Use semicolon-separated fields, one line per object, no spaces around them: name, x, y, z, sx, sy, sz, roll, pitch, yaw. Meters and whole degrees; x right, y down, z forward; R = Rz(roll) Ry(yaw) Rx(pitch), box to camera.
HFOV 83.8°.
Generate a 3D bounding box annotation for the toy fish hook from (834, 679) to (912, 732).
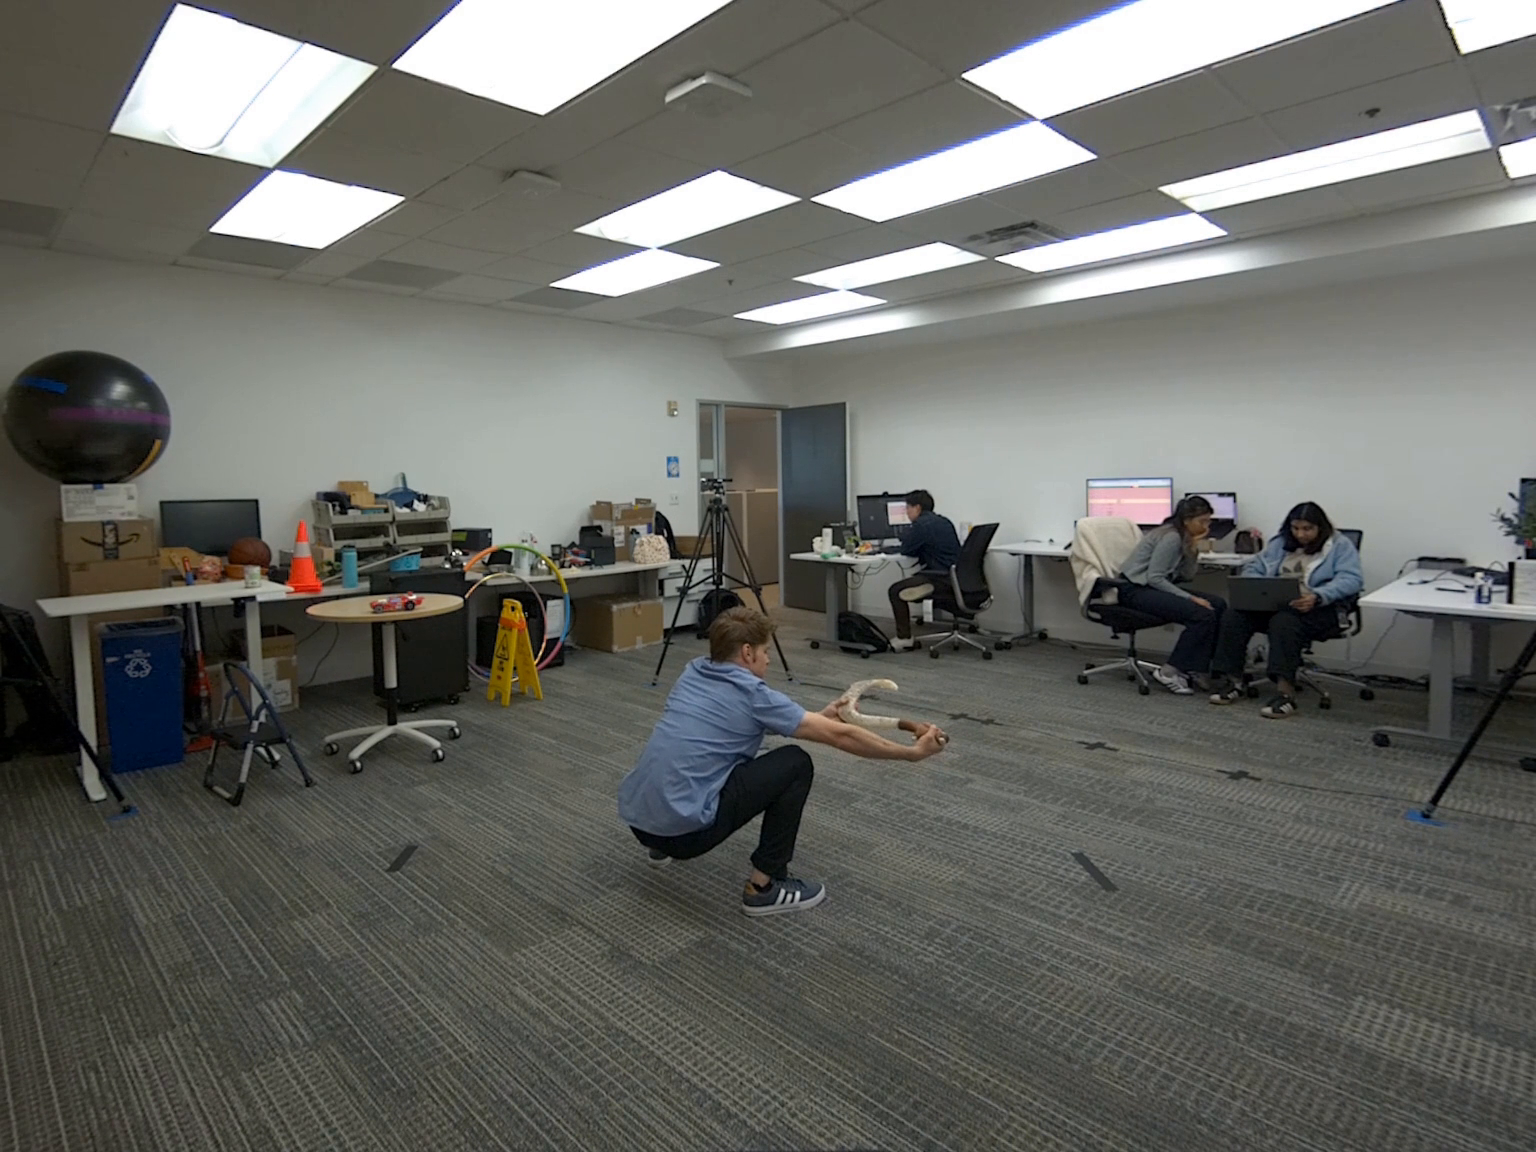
toy fish hook;0.435;0.483;3.050;0.523;0.047;0.225;7;49;47
